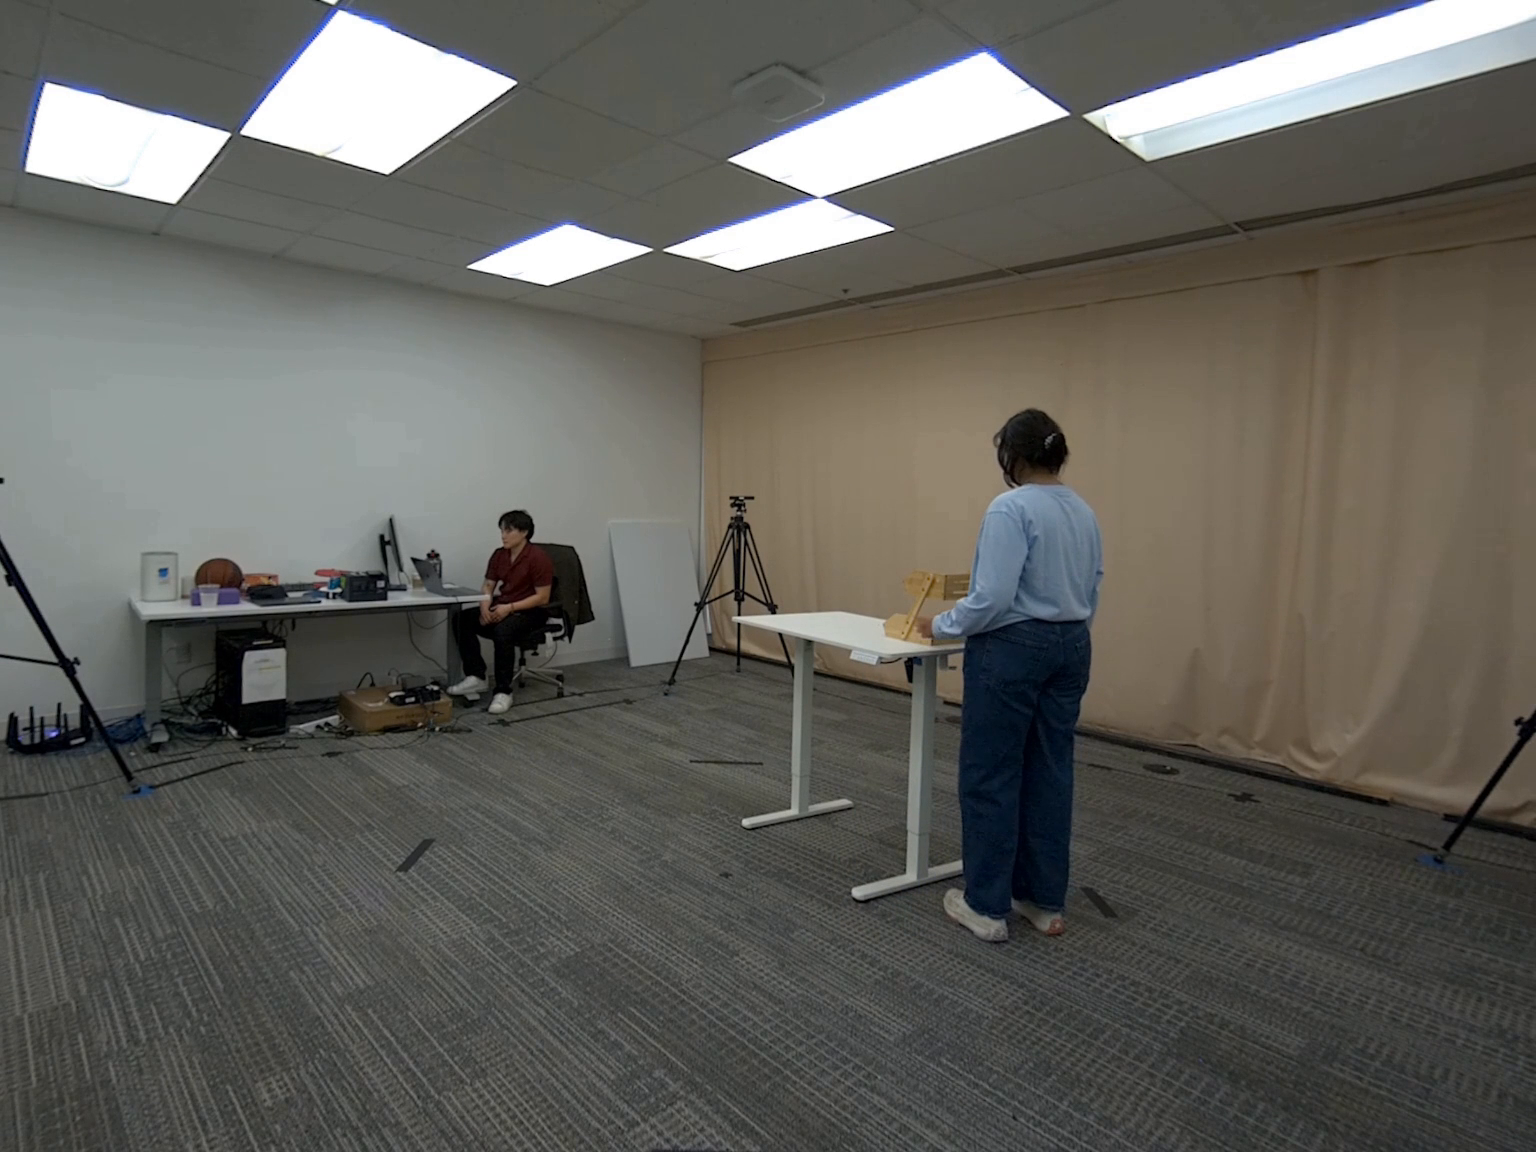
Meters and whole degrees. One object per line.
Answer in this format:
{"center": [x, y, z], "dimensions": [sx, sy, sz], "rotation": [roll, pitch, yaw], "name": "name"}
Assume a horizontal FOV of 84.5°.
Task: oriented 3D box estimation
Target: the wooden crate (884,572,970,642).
{"center": [0.642, 0.106, 3.134], "dimensions": [0.317, 0.273, 0.309], "rotation": [0, 5, -34], "name": "wooden crate"}
